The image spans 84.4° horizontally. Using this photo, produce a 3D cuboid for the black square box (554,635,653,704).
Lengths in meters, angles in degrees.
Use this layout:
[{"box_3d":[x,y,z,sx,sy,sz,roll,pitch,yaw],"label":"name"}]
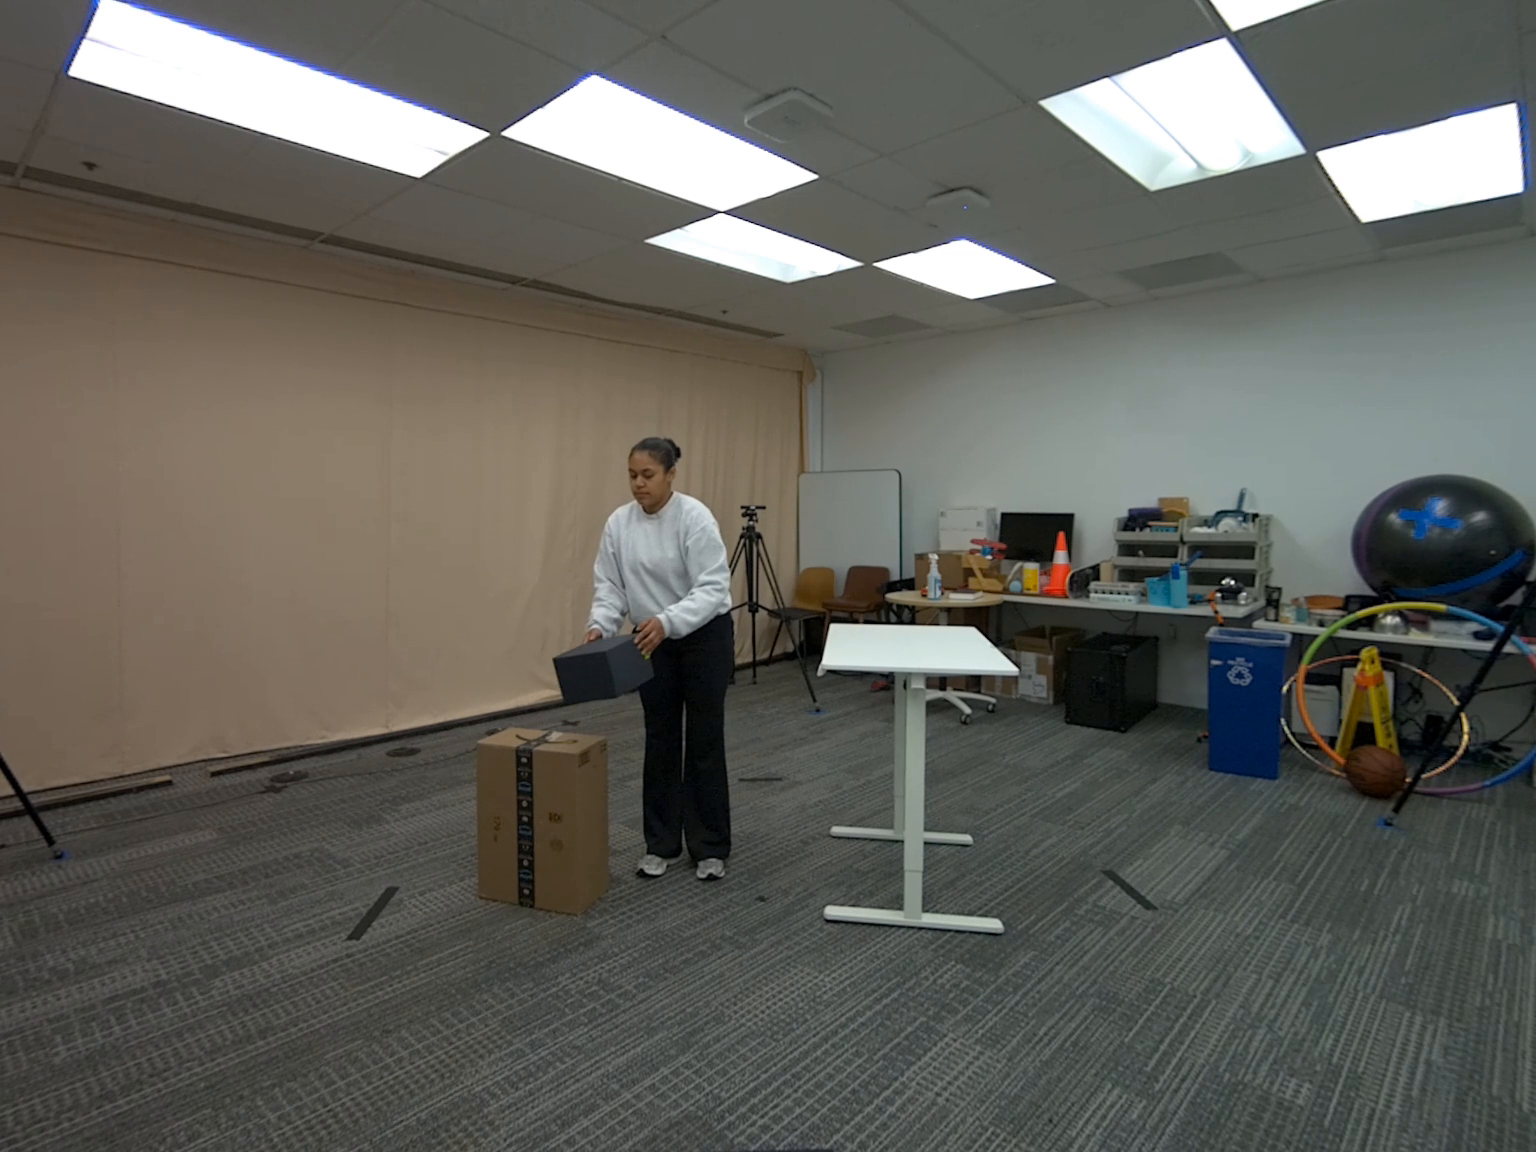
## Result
[{"box_3d":[-0.532,0.299,2.772,0.233,0.155,0.212,-10,5,29],"label":"black square box"}]
